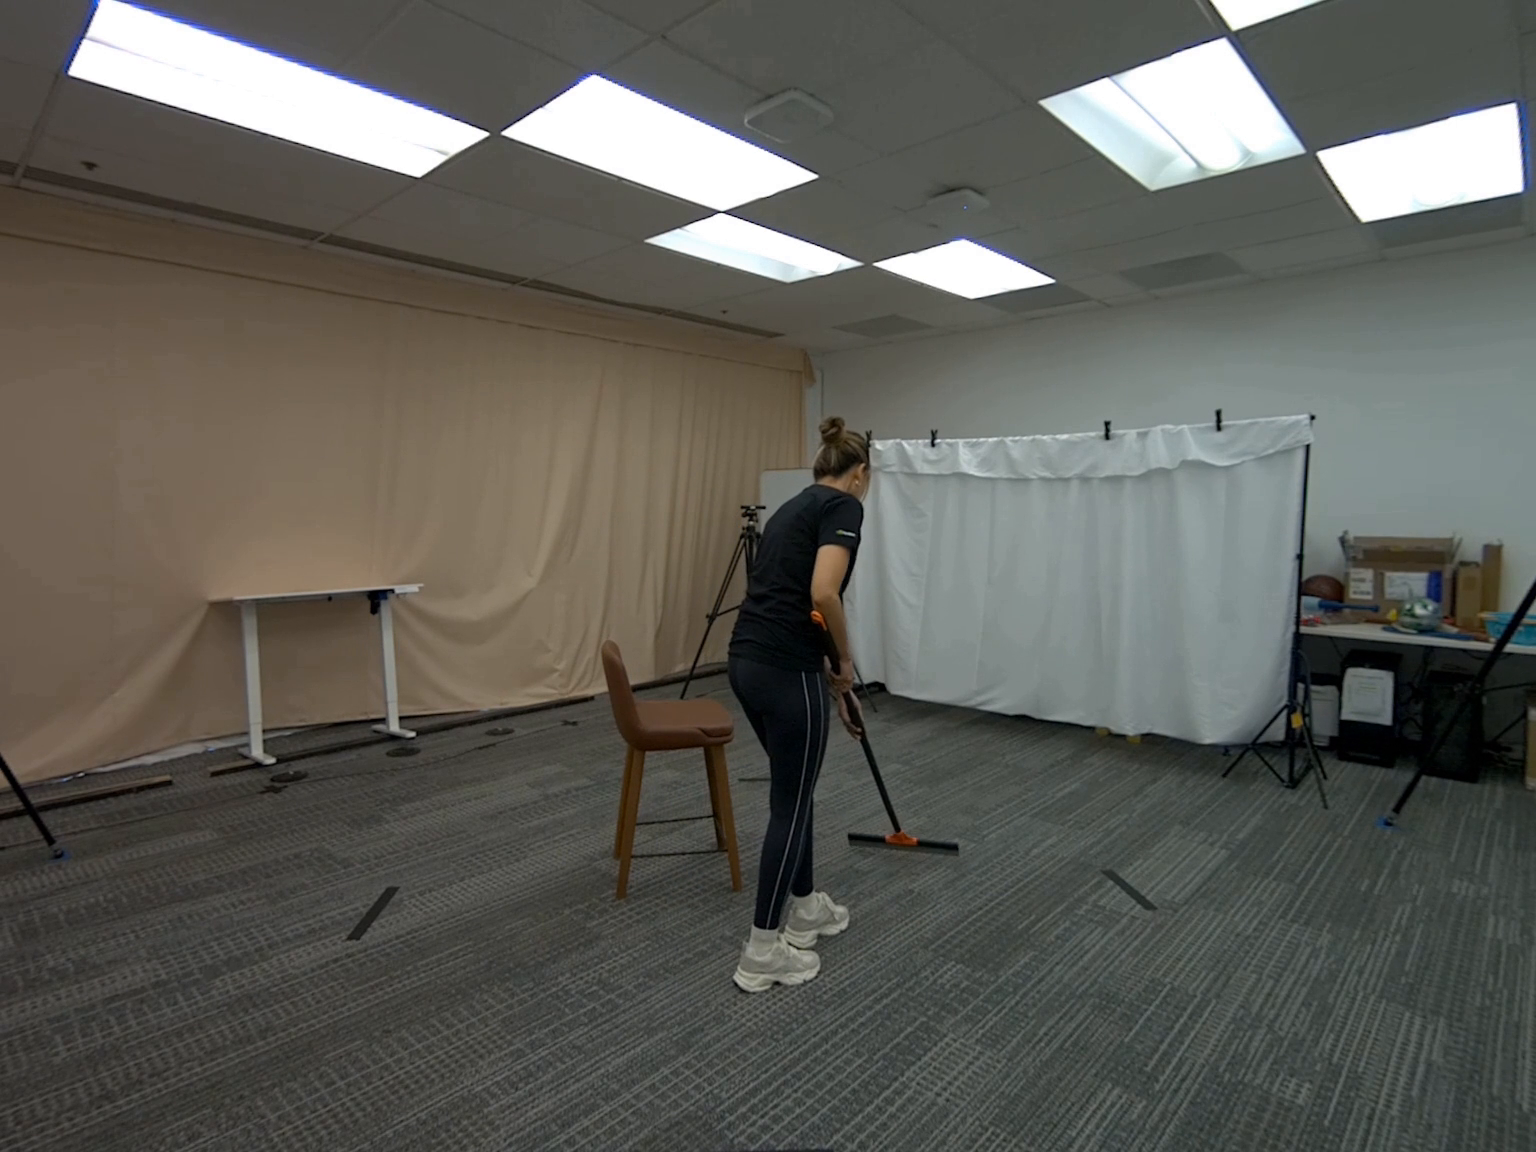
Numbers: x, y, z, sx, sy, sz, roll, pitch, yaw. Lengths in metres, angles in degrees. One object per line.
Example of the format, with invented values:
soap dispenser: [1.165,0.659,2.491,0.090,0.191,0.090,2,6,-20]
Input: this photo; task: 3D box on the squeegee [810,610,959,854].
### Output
squeegee: [0.349,0.578,2.835,0.446,0.053,1.492,-1,-41,19]
